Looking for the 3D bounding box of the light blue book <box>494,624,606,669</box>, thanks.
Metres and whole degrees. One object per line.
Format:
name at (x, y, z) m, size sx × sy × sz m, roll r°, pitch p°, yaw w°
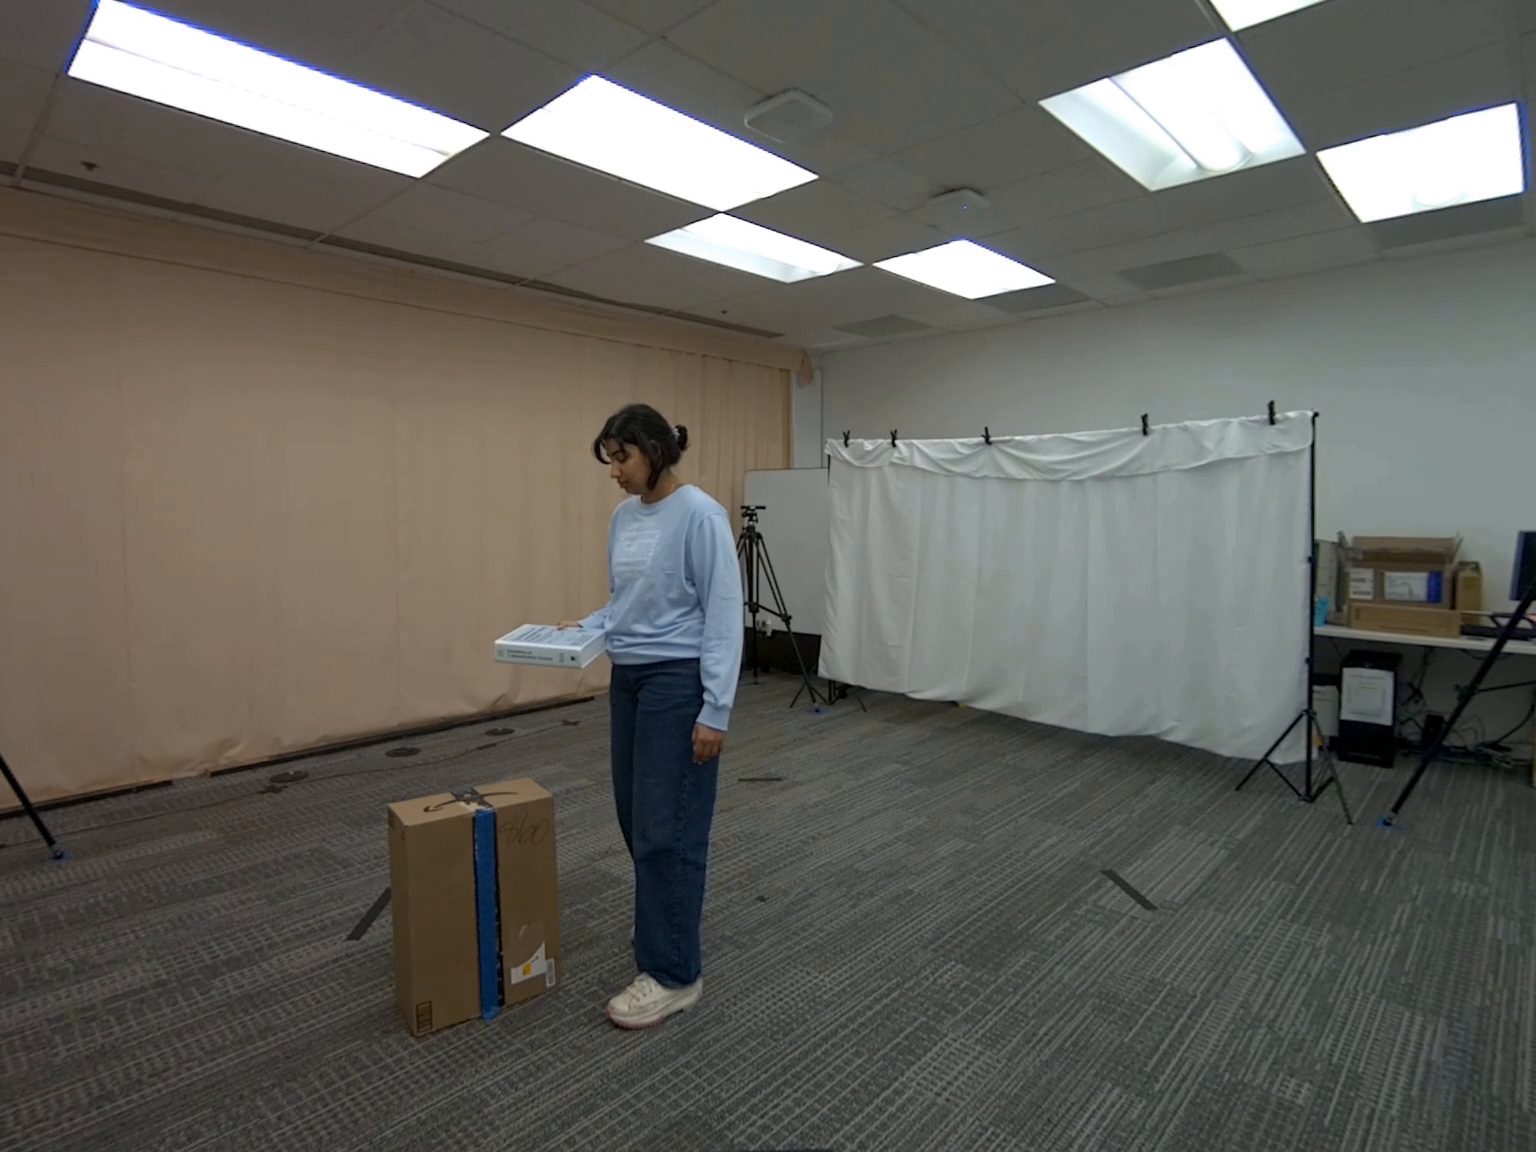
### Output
light blue book at (-0.600, 0.199, 2.385) m, size 0.265 × 0.058 × 0.190 m, roll 3°, pitch 12°, yaw 13°
